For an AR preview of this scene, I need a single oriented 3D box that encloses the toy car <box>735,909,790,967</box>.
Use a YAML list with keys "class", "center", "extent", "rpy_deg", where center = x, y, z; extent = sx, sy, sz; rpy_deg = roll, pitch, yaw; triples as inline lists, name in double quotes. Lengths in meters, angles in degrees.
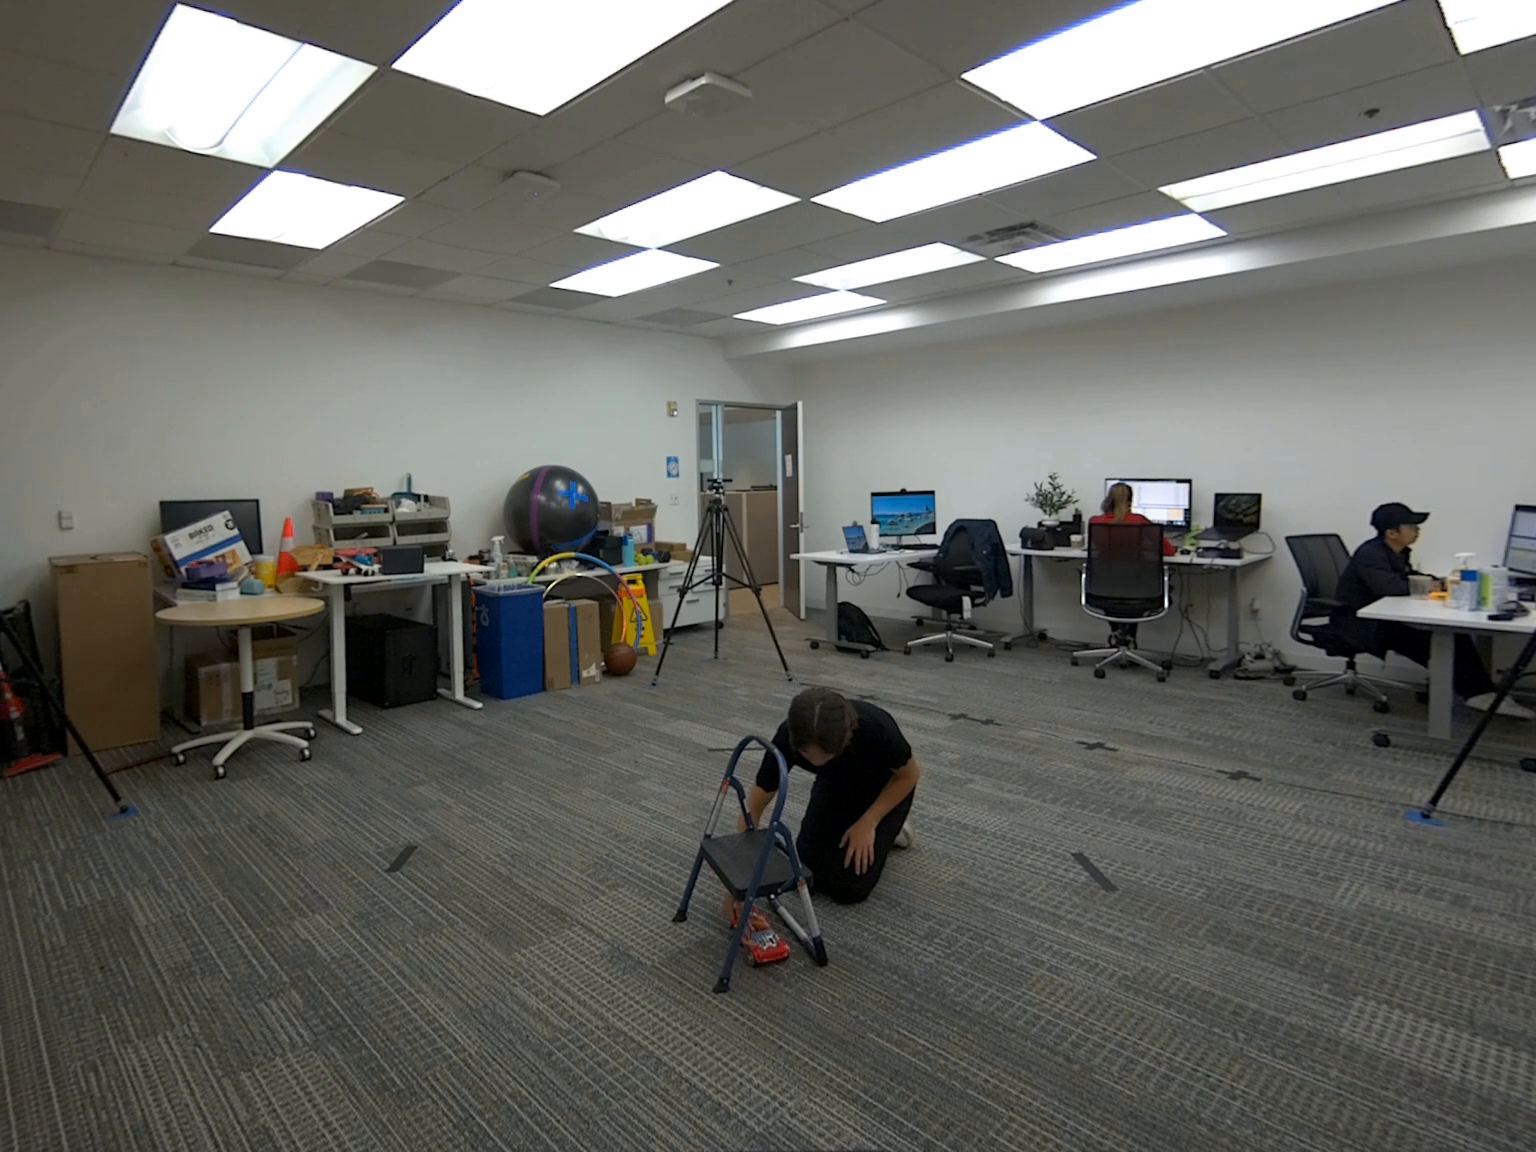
- class: "toy car"
  center: [-0.029, 1.082, 2.553]
  extent: [0.128, 0.082, 0.262]
  rpy_deg: [-3, 16, -19]
